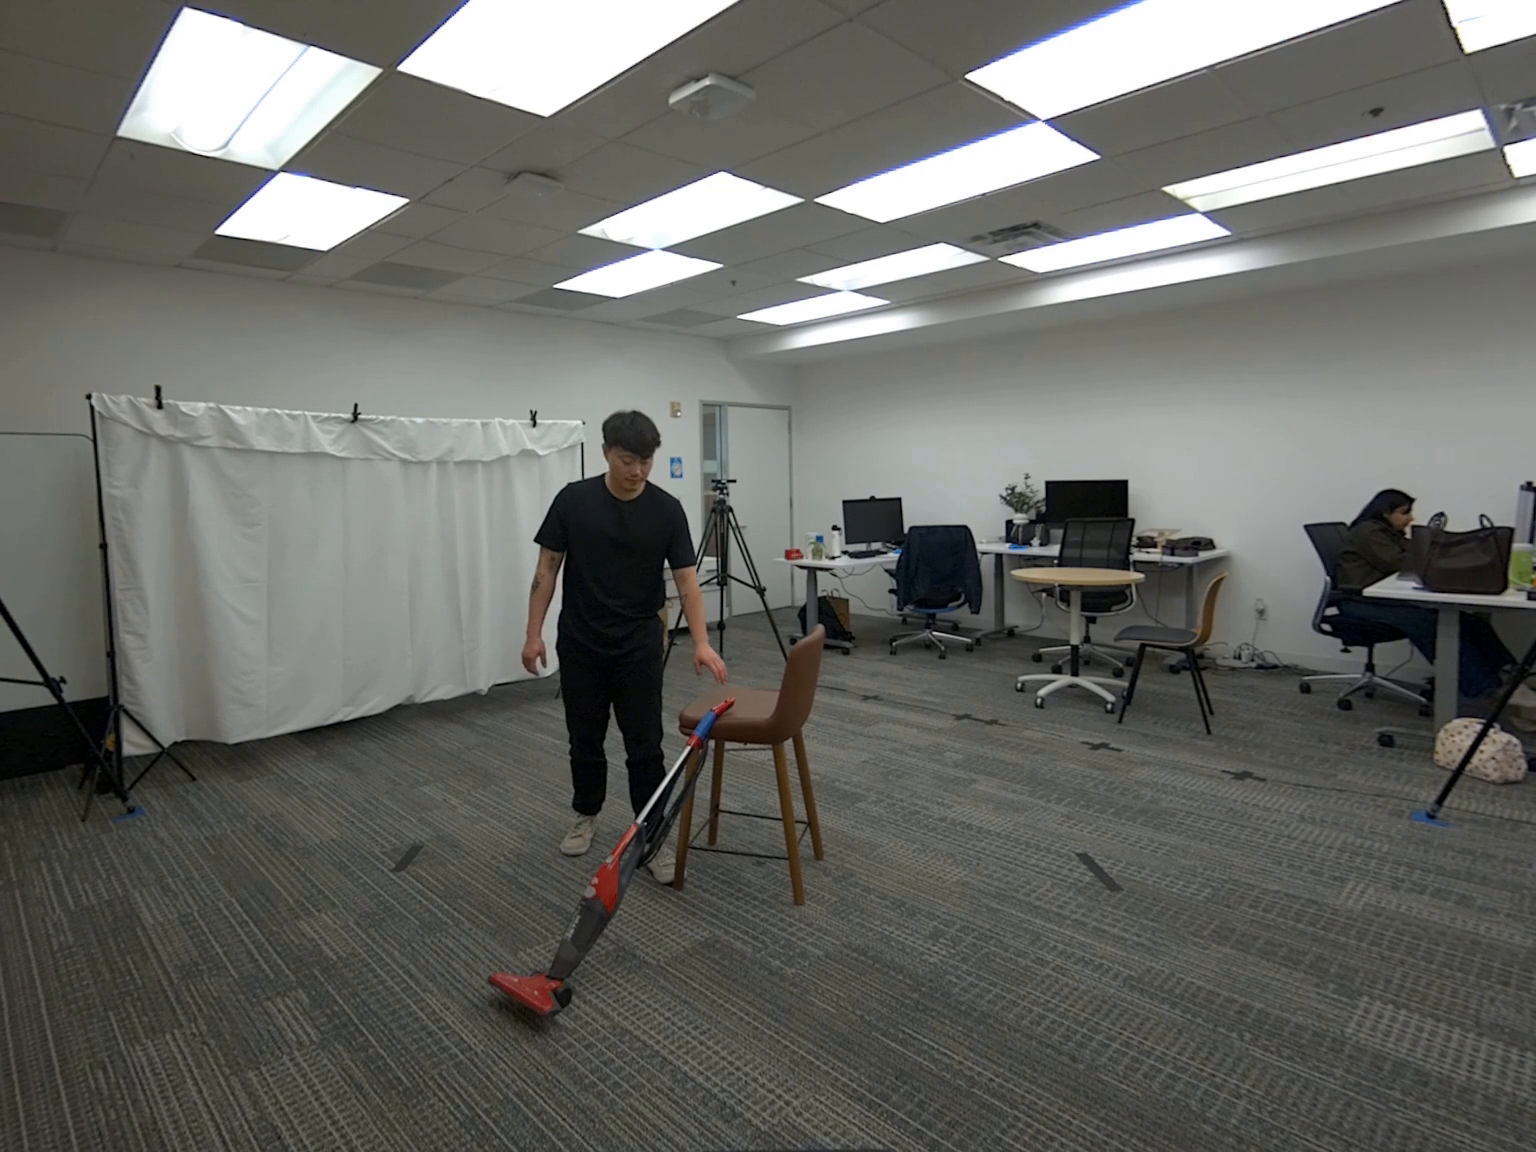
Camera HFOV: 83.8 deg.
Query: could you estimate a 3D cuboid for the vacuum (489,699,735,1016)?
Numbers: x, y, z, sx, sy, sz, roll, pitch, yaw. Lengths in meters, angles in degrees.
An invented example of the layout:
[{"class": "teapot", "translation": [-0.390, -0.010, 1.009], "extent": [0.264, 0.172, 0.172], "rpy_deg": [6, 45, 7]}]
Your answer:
[{"class": "vacuum", "translation": [-0.372, 0.789, 2.576], "extent": [0.260, 0.139, 1.053], "rpy_deg": [5, 44, 36]}]
